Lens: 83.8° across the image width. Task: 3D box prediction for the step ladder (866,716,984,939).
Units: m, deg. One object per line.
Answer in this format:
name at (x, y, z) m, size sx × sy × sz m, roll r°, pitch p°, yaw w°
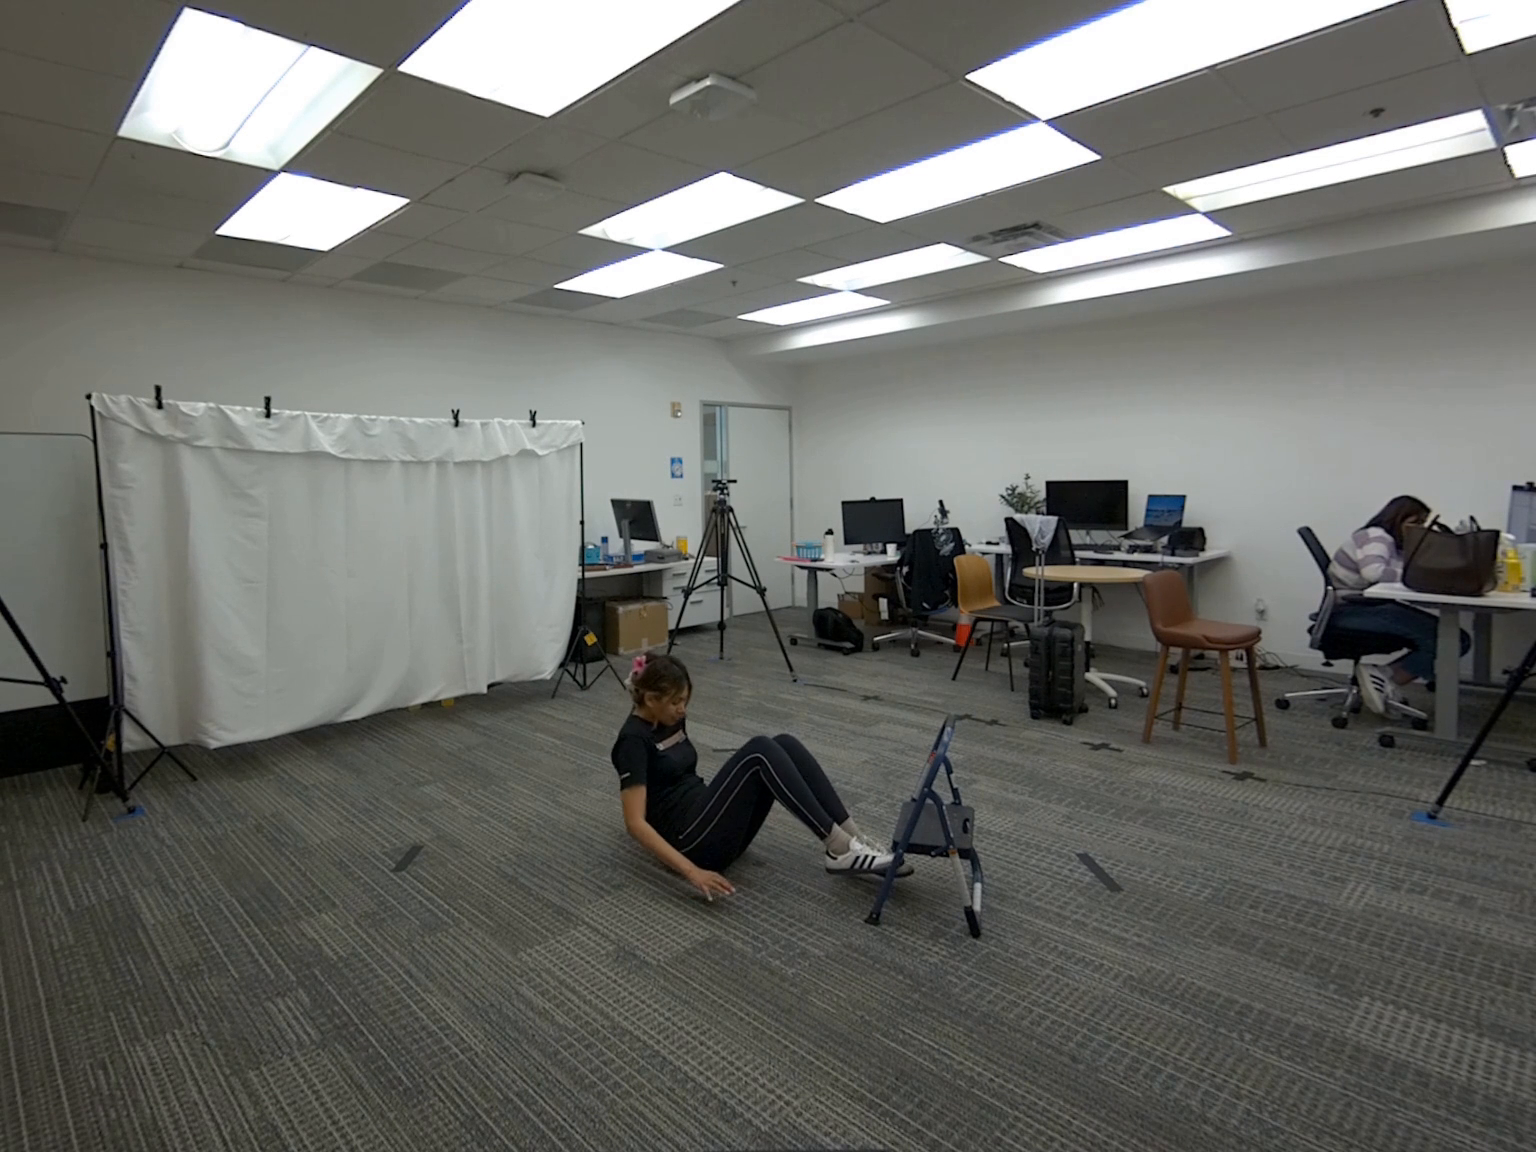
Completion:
step ladder at (0.528, 0.770, 2.800) m, size 0.355 × 0.604 × 0.425 m, roll 0°, pitch 4°, yaw 16°
